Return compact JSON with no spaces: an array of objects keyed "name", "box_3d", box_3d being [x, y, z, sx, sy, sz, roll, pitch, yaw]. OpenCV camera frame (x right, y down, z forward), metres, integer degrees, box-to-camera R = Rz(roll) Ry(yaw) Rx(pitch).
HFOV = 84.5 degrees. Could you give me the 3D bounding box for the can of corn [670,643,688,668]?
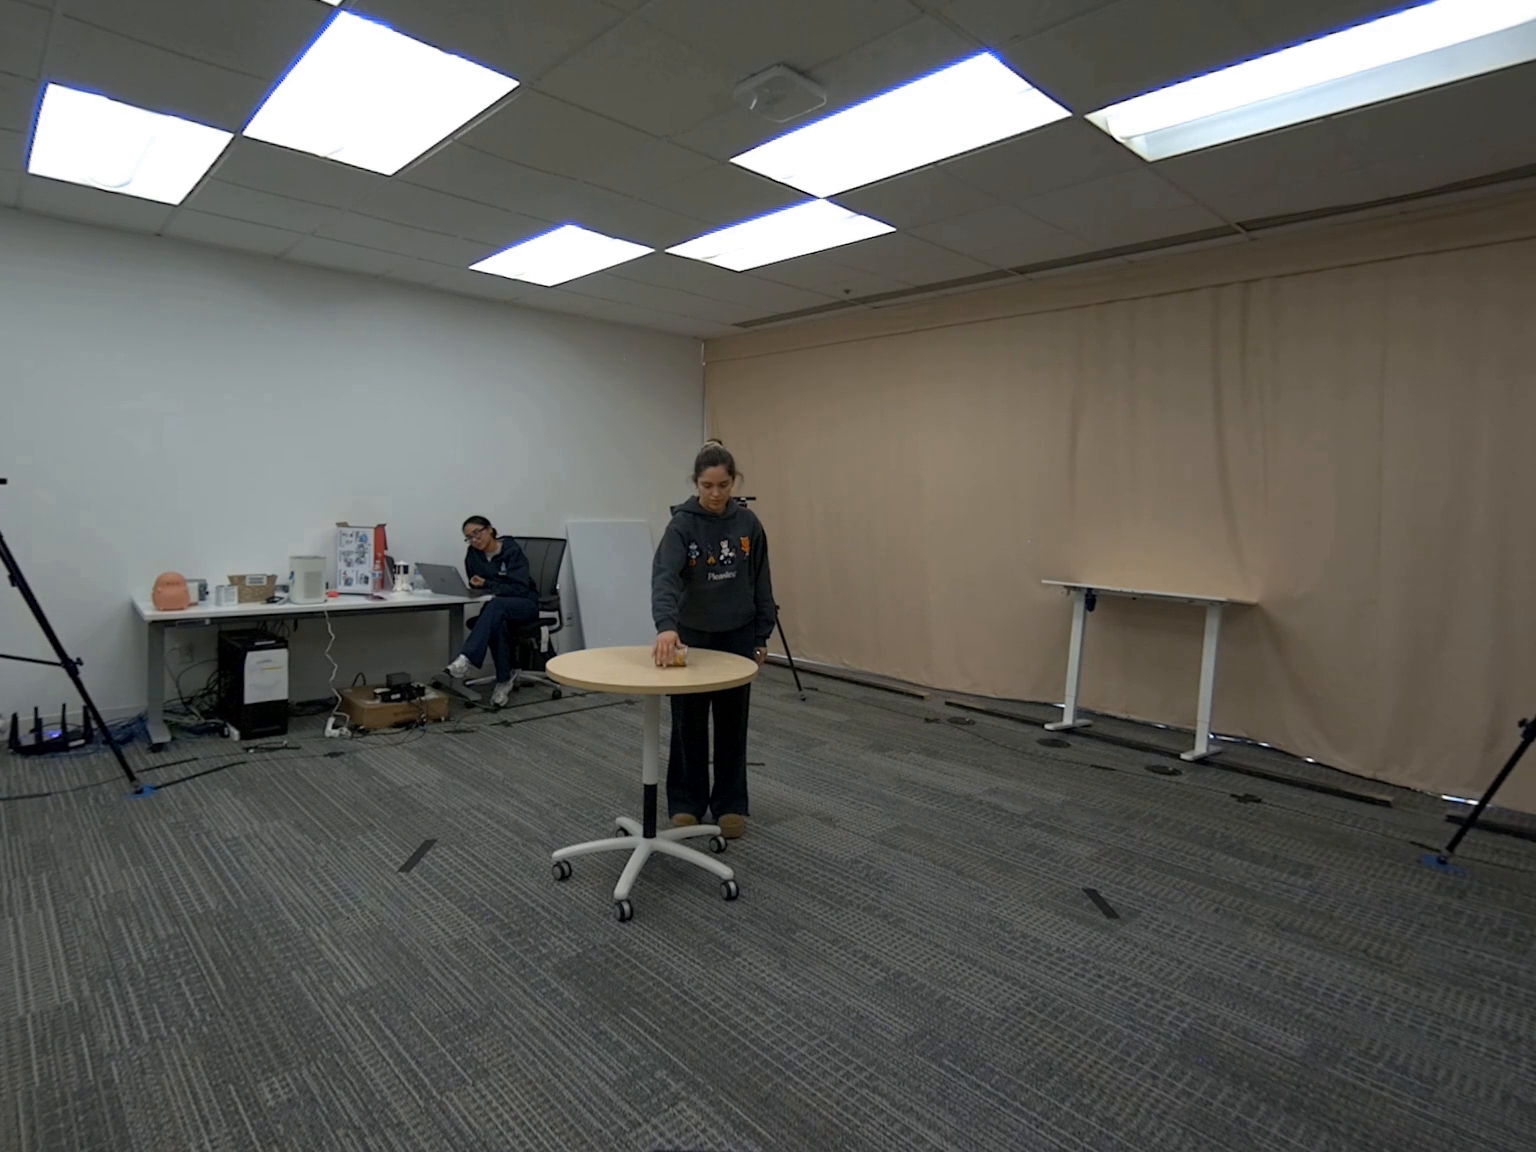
[{"name":"can of corn","box_3d":[-0.369,0.287,3.062,0.111,0.074,0.074,6,5,4]}]
